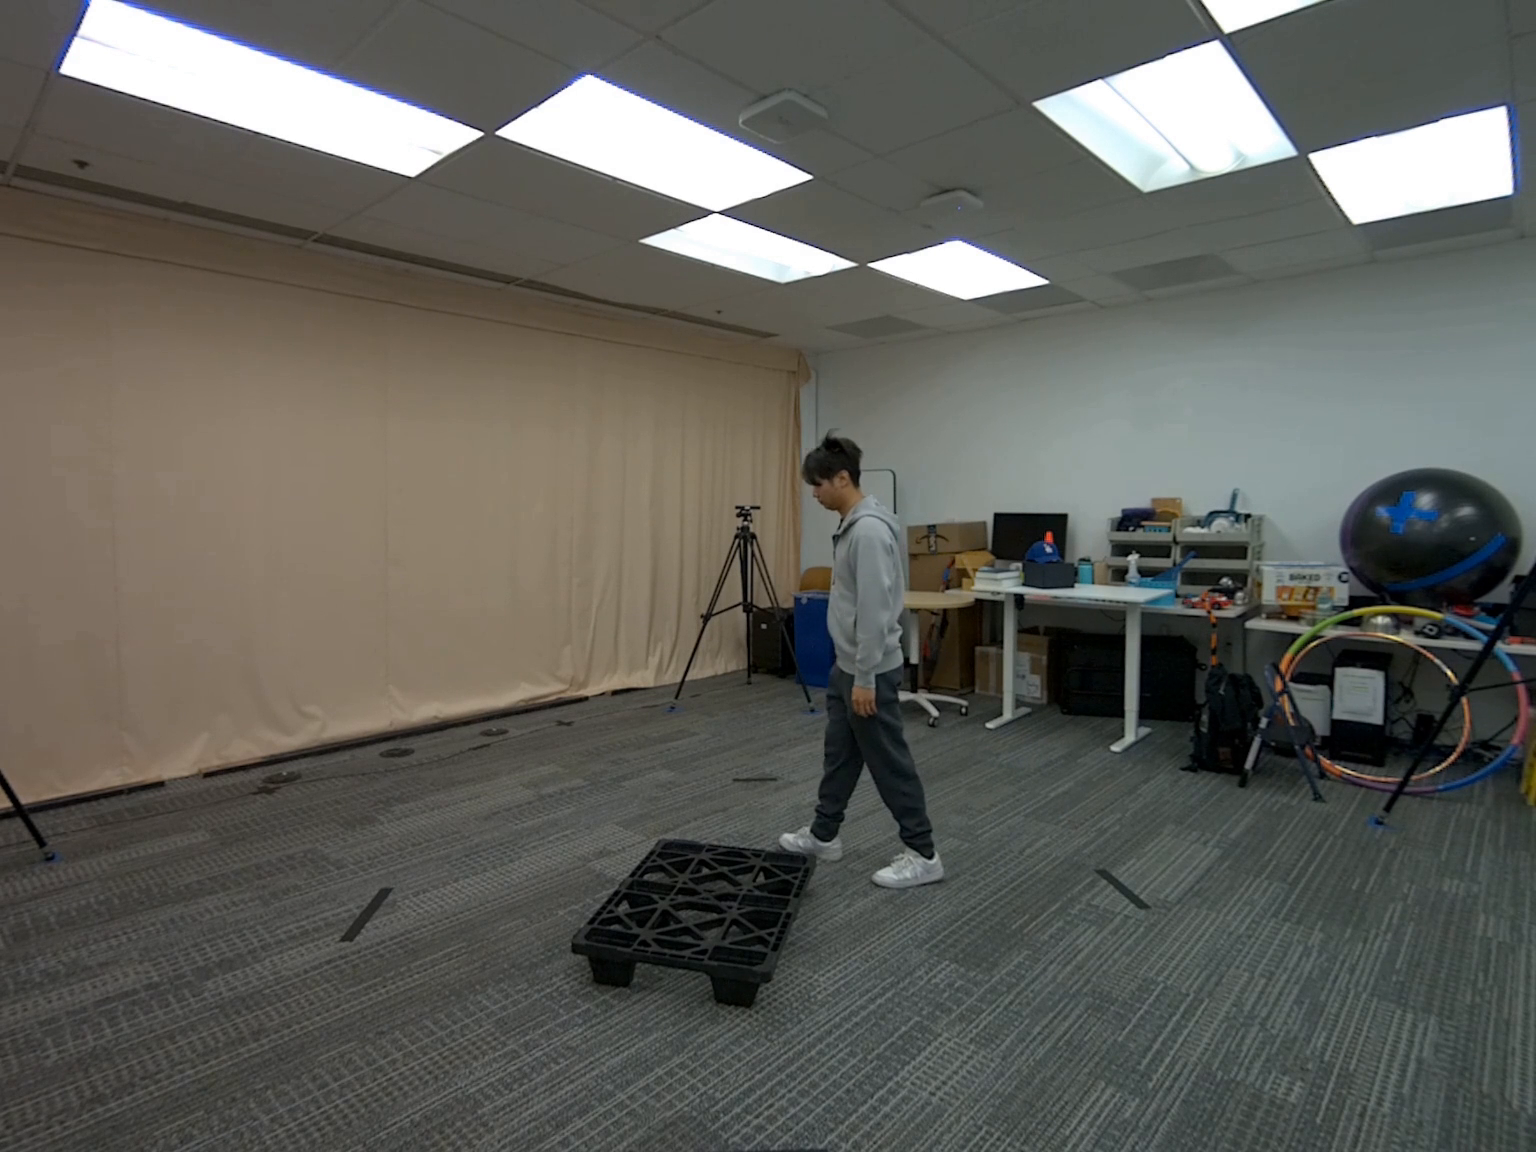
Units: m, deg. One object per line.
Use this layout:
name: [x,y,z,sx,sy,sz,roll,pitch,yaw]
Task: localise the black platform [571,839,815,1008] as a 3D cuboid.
black platform: [-0.195,1.099,2.742,0.615,0.143,0.795,1,5,13]
